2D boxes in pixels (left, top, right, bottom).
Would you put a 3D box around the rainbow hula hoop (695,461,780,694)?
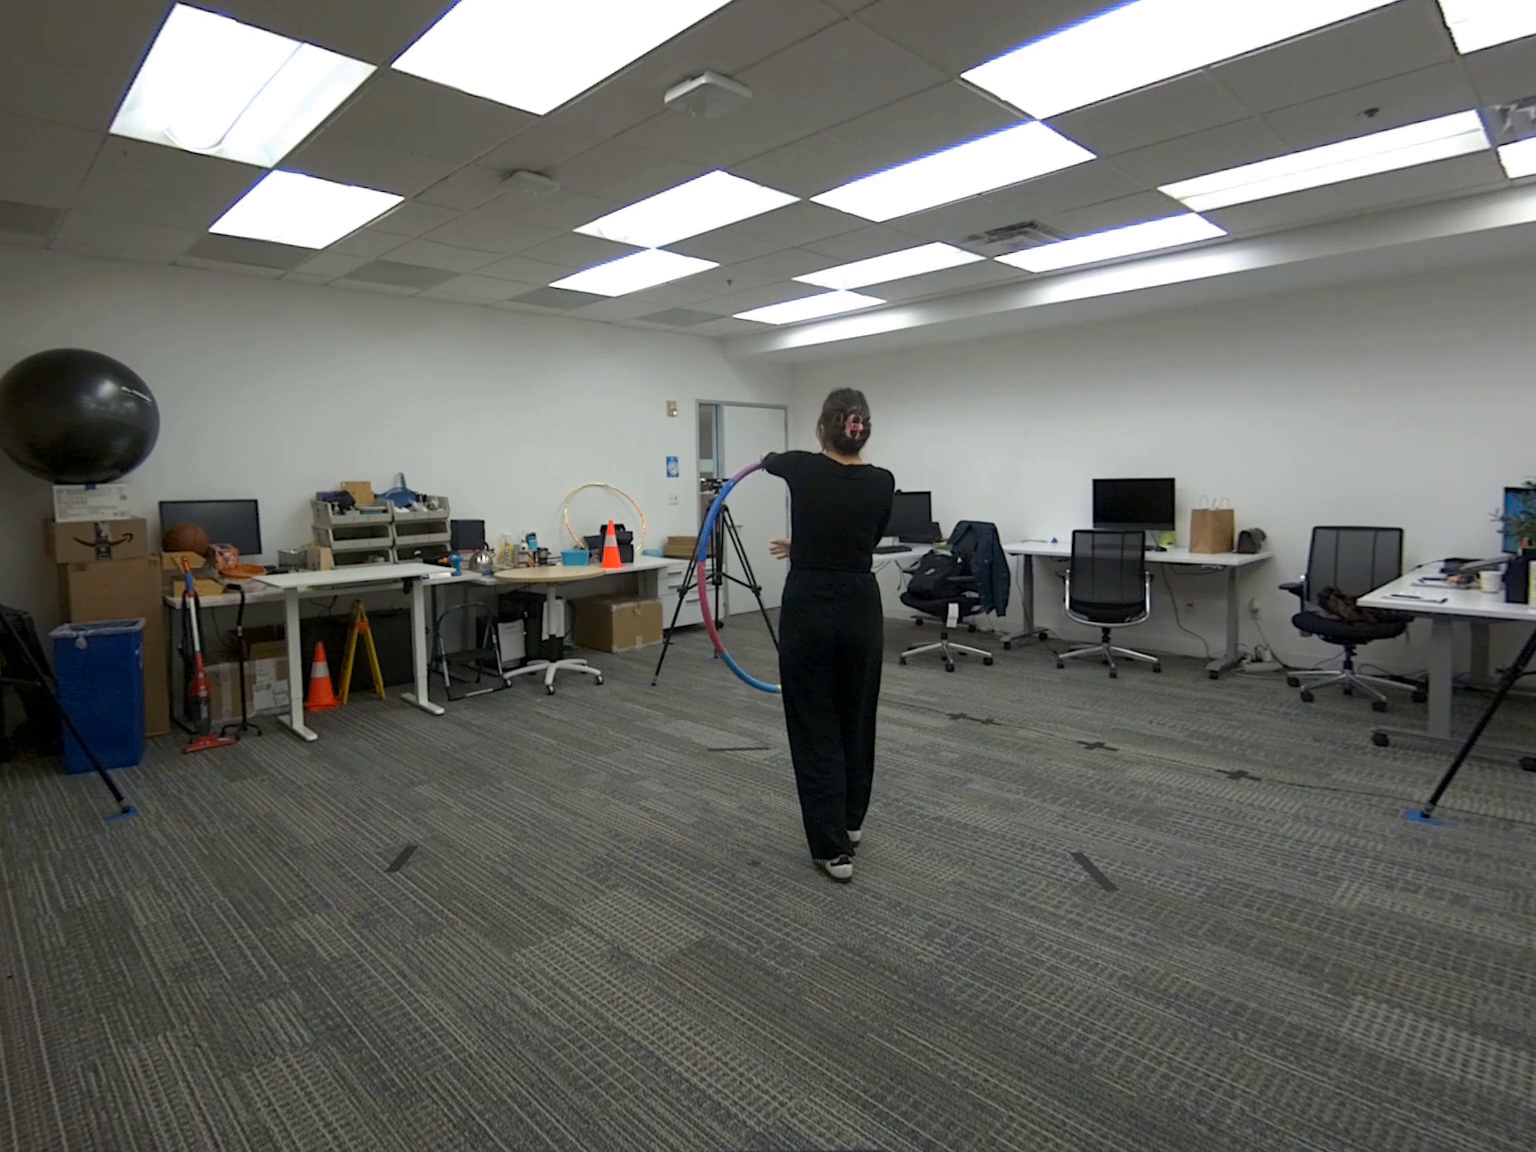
[{"bbox_3d":[0.064,-0.005,3.645,0.959,0.986,0.053,-6,0,-45],"label":"rainbow hula hoop"}]
